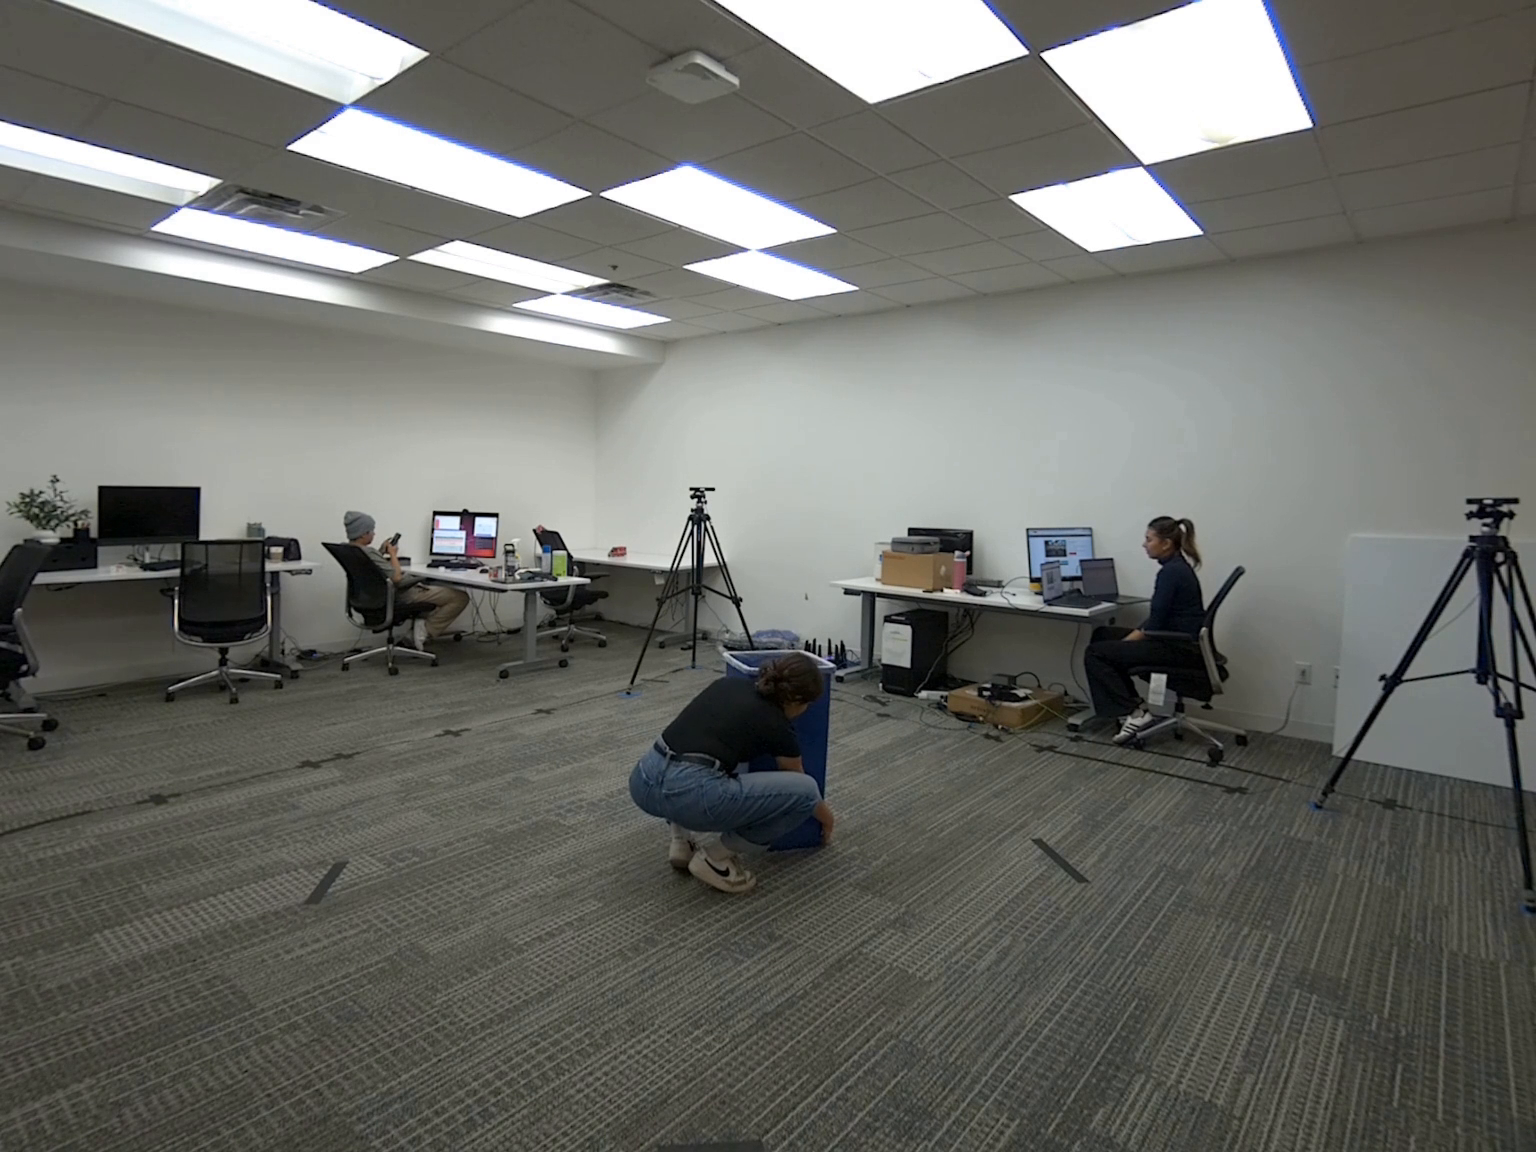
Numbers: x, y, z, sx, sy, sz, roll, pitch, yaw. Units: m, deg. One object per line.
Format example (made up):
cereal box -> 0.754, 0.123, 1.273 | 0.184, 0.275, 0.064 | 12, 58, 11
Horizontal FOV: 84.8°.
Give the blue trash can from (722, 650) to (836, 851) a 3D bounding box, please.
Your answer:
blue trash can -> 0.027, 0.684, 3.419 | 0.371, 0.712, 0.382 | 1, 3, -18
